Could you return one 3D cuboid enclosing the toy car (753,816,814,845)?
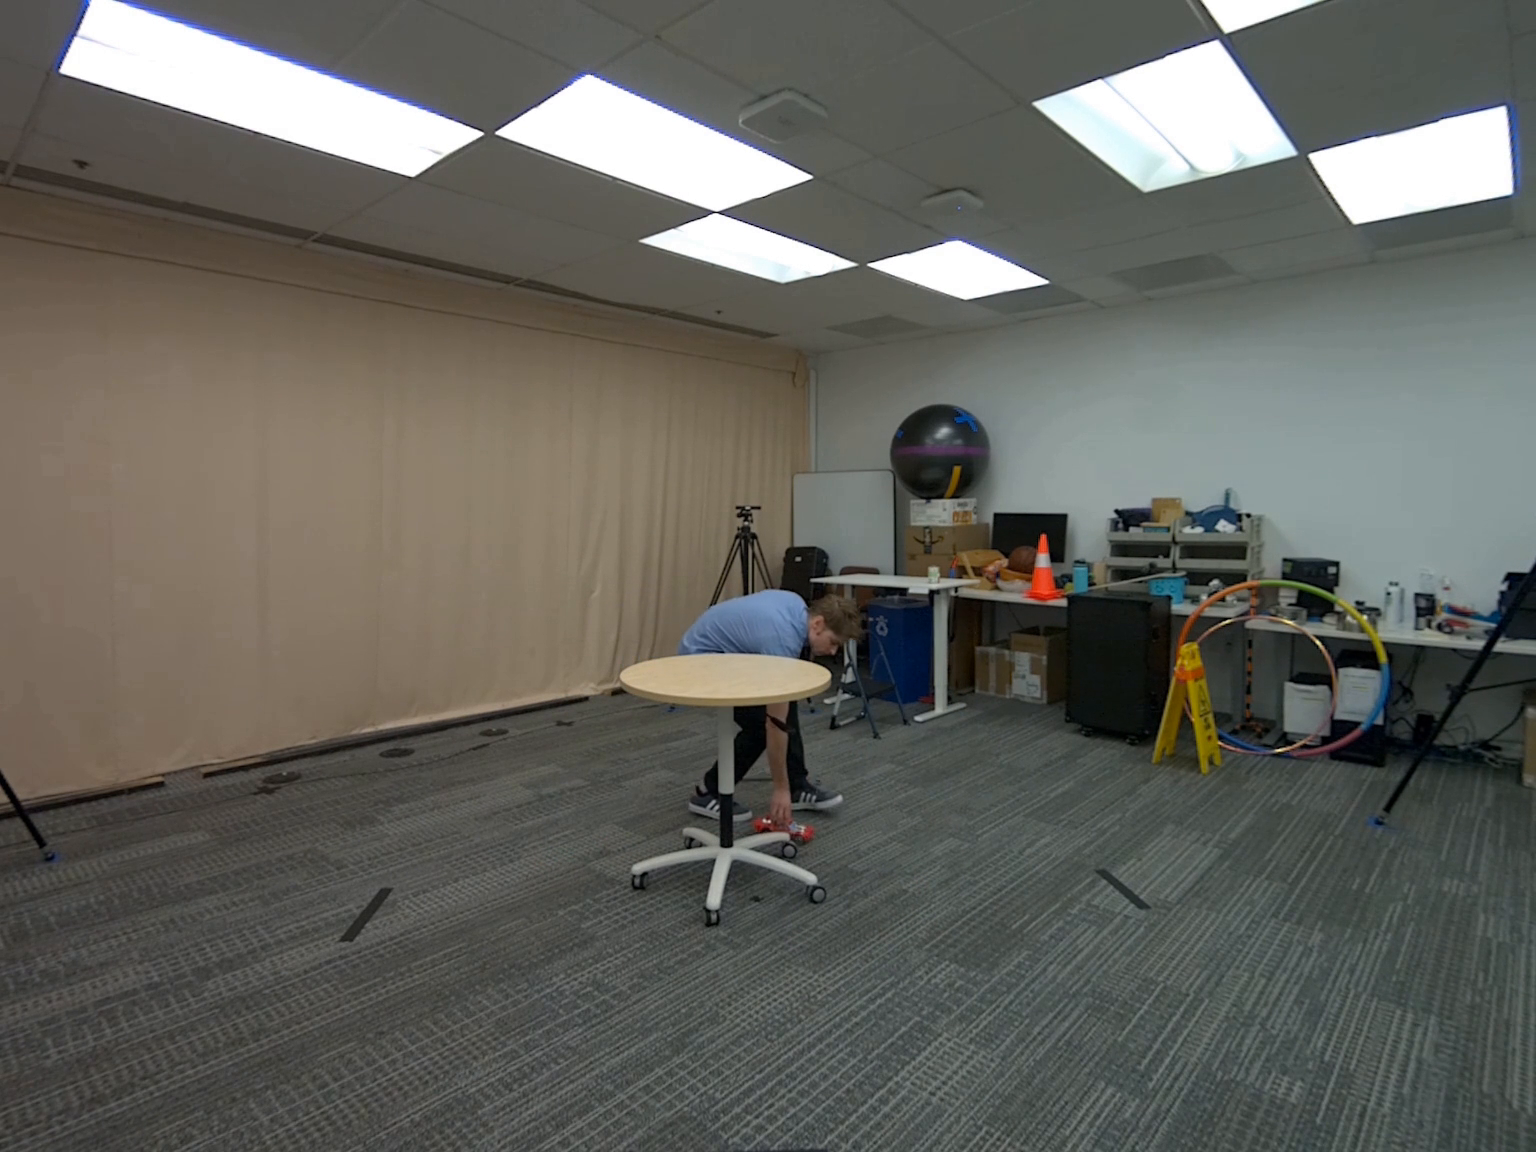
[{"bbox_3d":[0.059,1.068,3.546,0.261,0.083,0.127,13,8,24],"label":"toy car"}]
